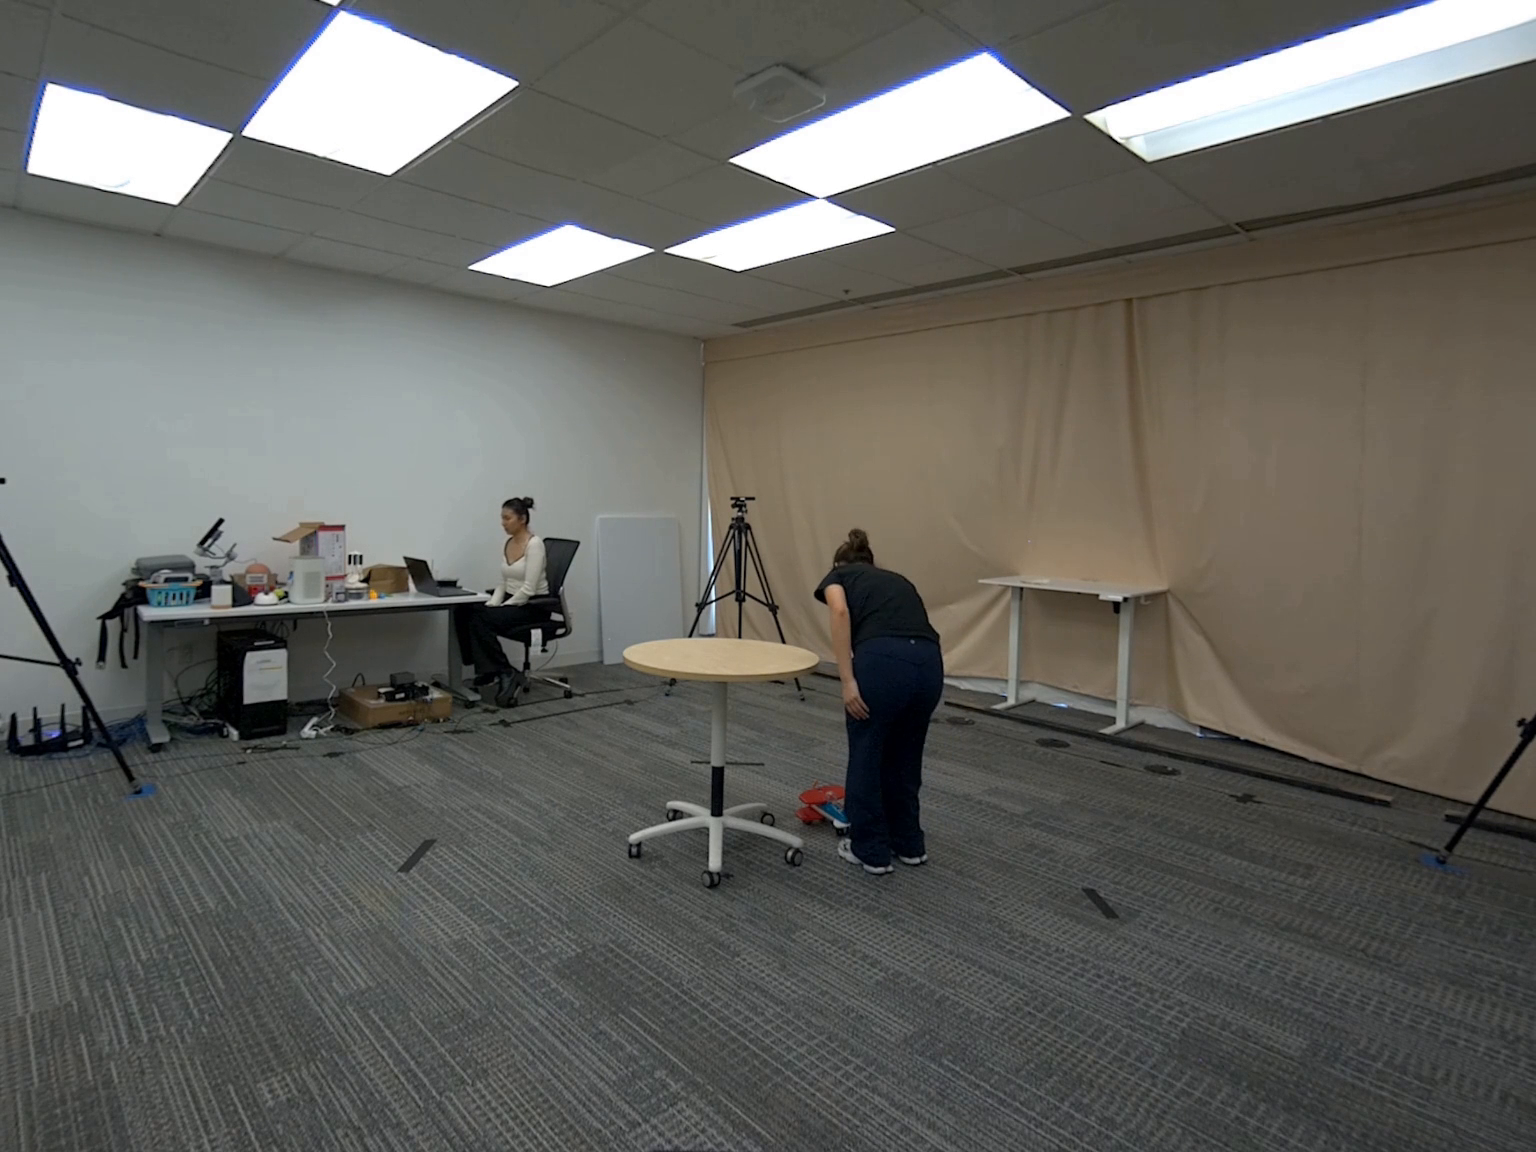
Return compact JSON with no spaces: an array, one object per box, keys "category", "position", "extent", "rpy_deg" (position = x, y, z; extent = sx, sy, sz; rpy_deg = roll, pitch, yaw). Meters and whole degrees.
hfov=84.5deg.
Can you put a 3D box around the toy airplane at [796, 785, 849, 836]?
[{"category":"toy airplane","position":[0.260,1.002,3.588],"extent":[0.264,0.156,0.247],"rpy_deg":[1,3,24]}]
